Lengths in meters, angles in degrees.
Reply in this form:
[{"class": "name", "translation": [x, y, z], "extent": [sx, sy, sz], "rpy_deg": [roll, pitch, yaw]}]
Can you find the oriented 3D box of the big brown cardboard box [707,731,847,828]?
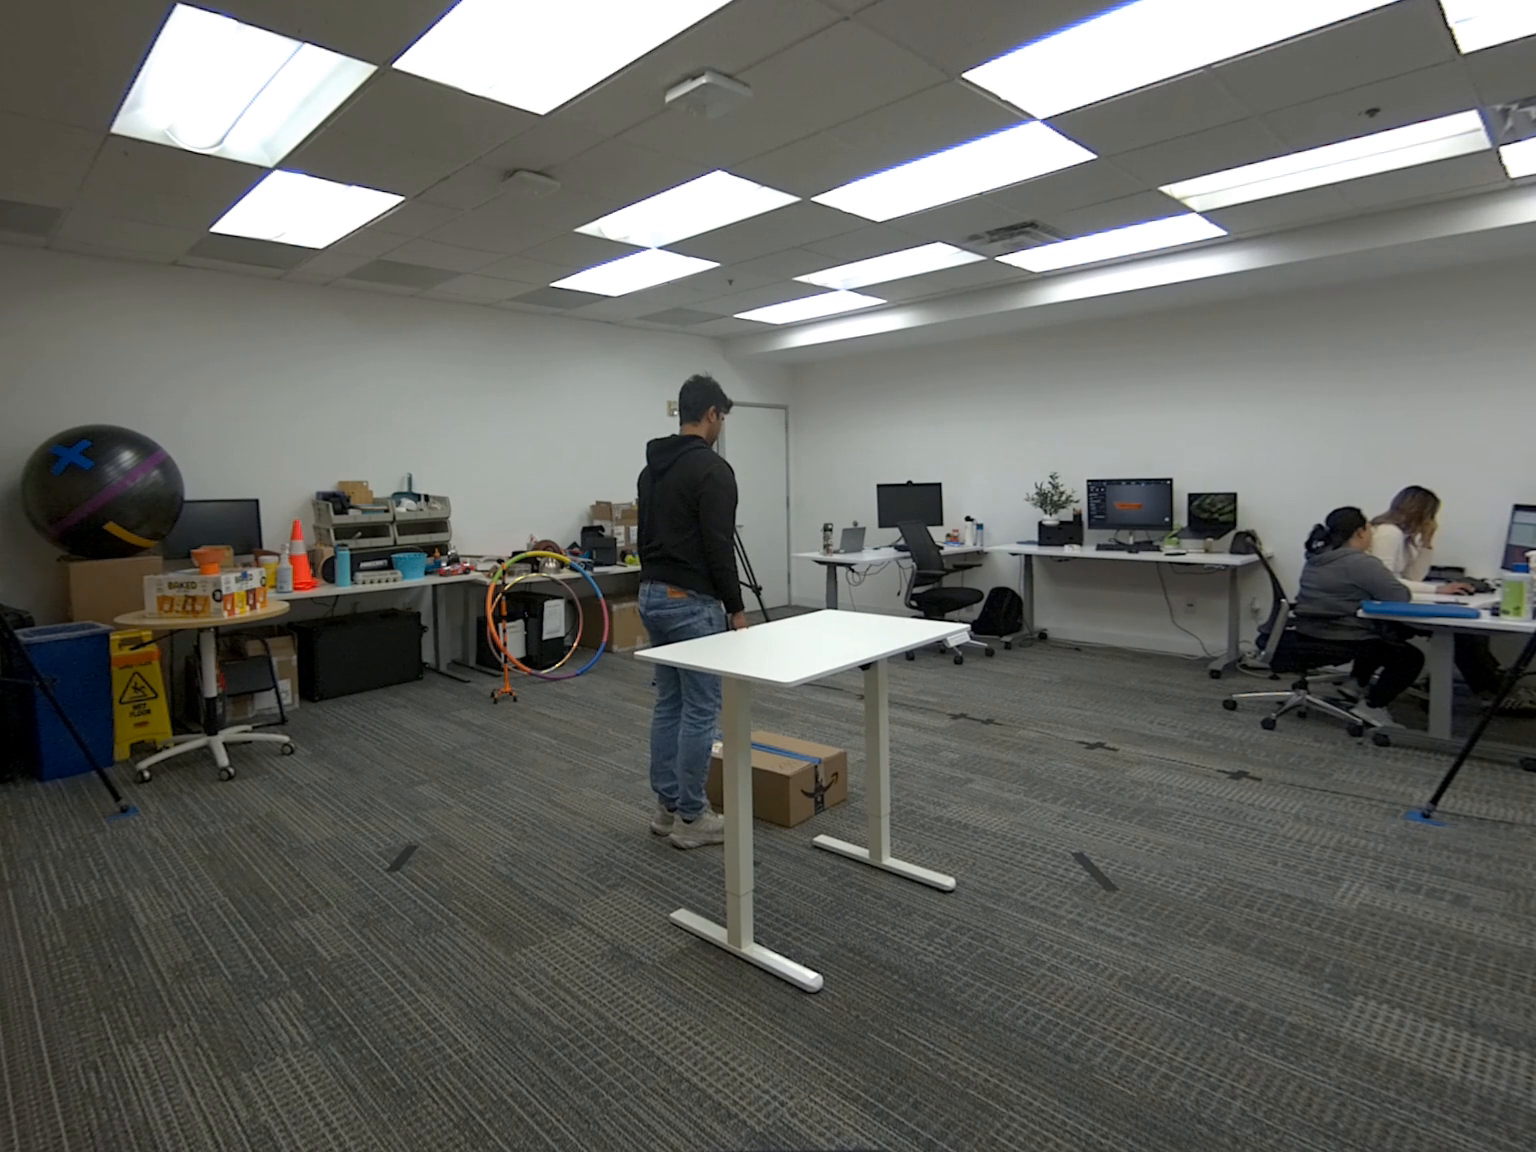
[{"class": "big brown cardboard box", "translation": [-0.007, 0.862, 3.744], "extent": [0.607, 0.232, 0.407], "rpy_deg": [5, 8, 39]}]
